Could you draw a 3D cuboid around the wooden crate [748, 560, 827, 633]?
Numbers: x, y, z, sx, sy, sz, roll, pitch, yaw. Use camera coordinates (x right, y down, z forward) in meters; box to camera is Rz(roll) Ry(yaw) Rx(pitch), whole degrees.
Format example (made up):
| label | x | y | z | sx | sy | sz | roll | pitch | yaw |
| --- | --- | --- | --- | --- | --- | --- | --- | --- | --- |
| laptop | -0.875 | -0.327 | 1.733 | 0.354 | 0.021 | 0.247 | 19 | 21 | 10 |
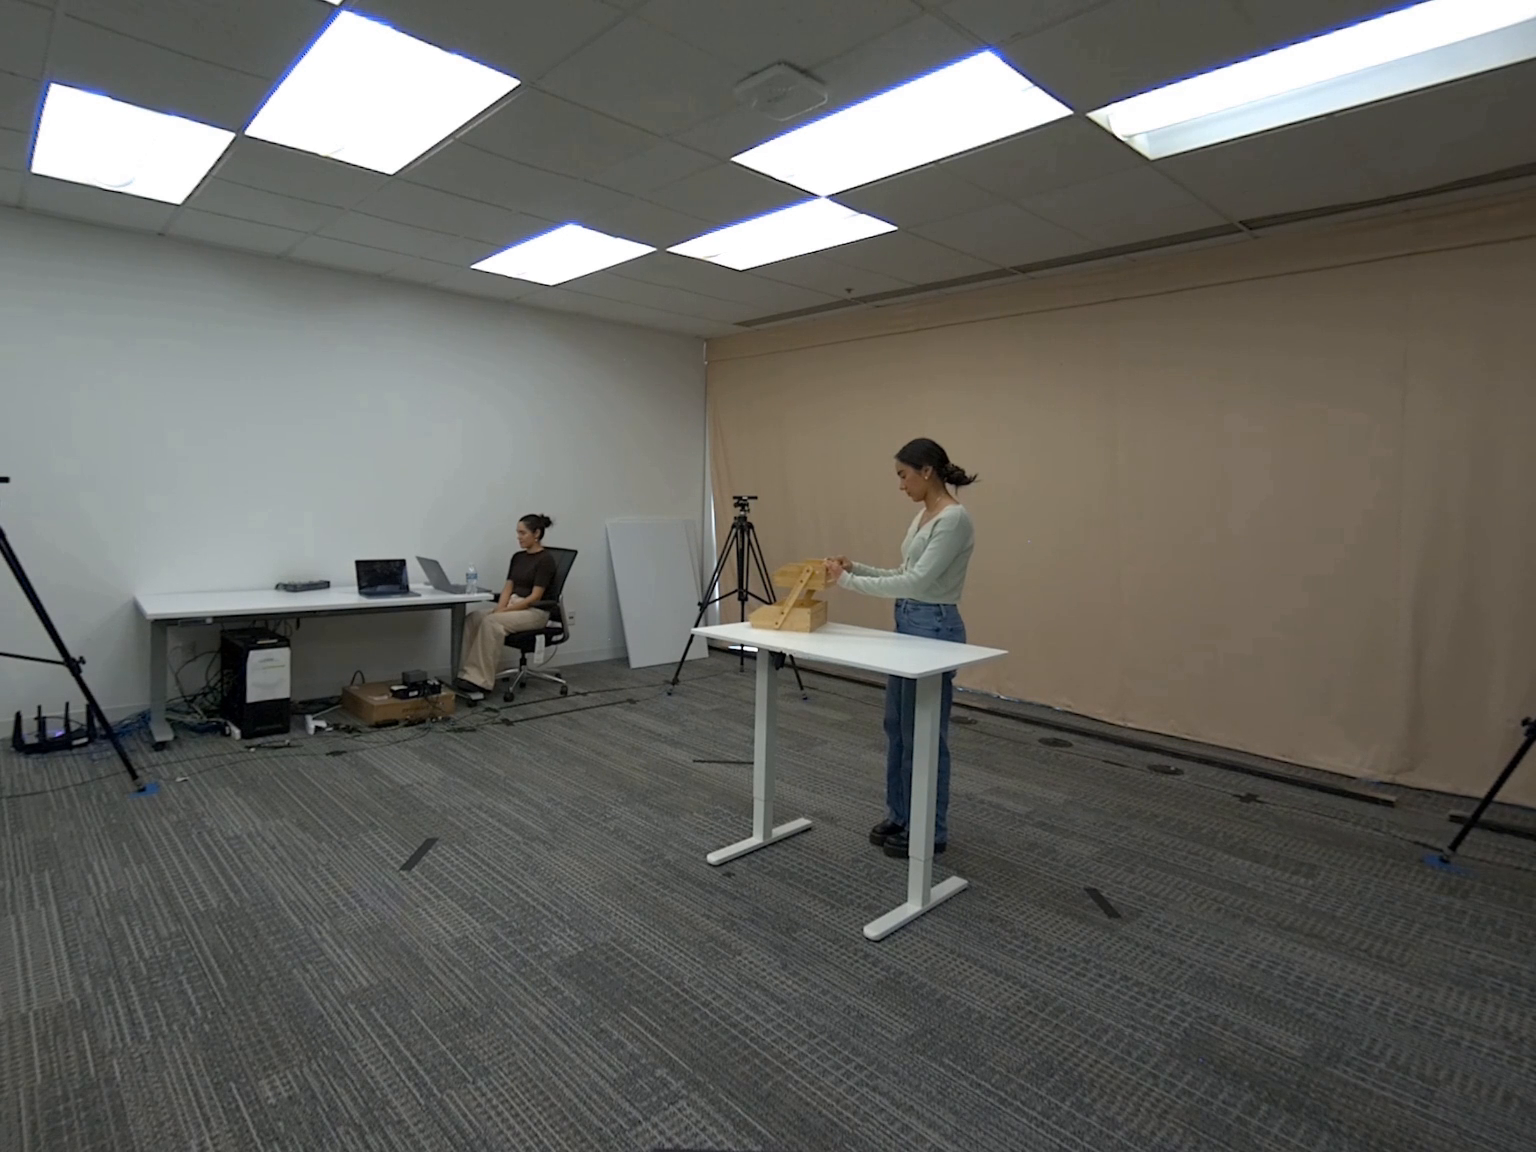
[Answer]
| label | x | y | z | sx | sy | sz | roll | pitch | yaw |
| --- | --- | --- | --- | --- | --- | --- | --- | --- | --- |
| wooden crate | 0.111 | 0.066 | 3.376 | 0.306 | 0.273 | 0.320 | 3 | 4 | 18 |
